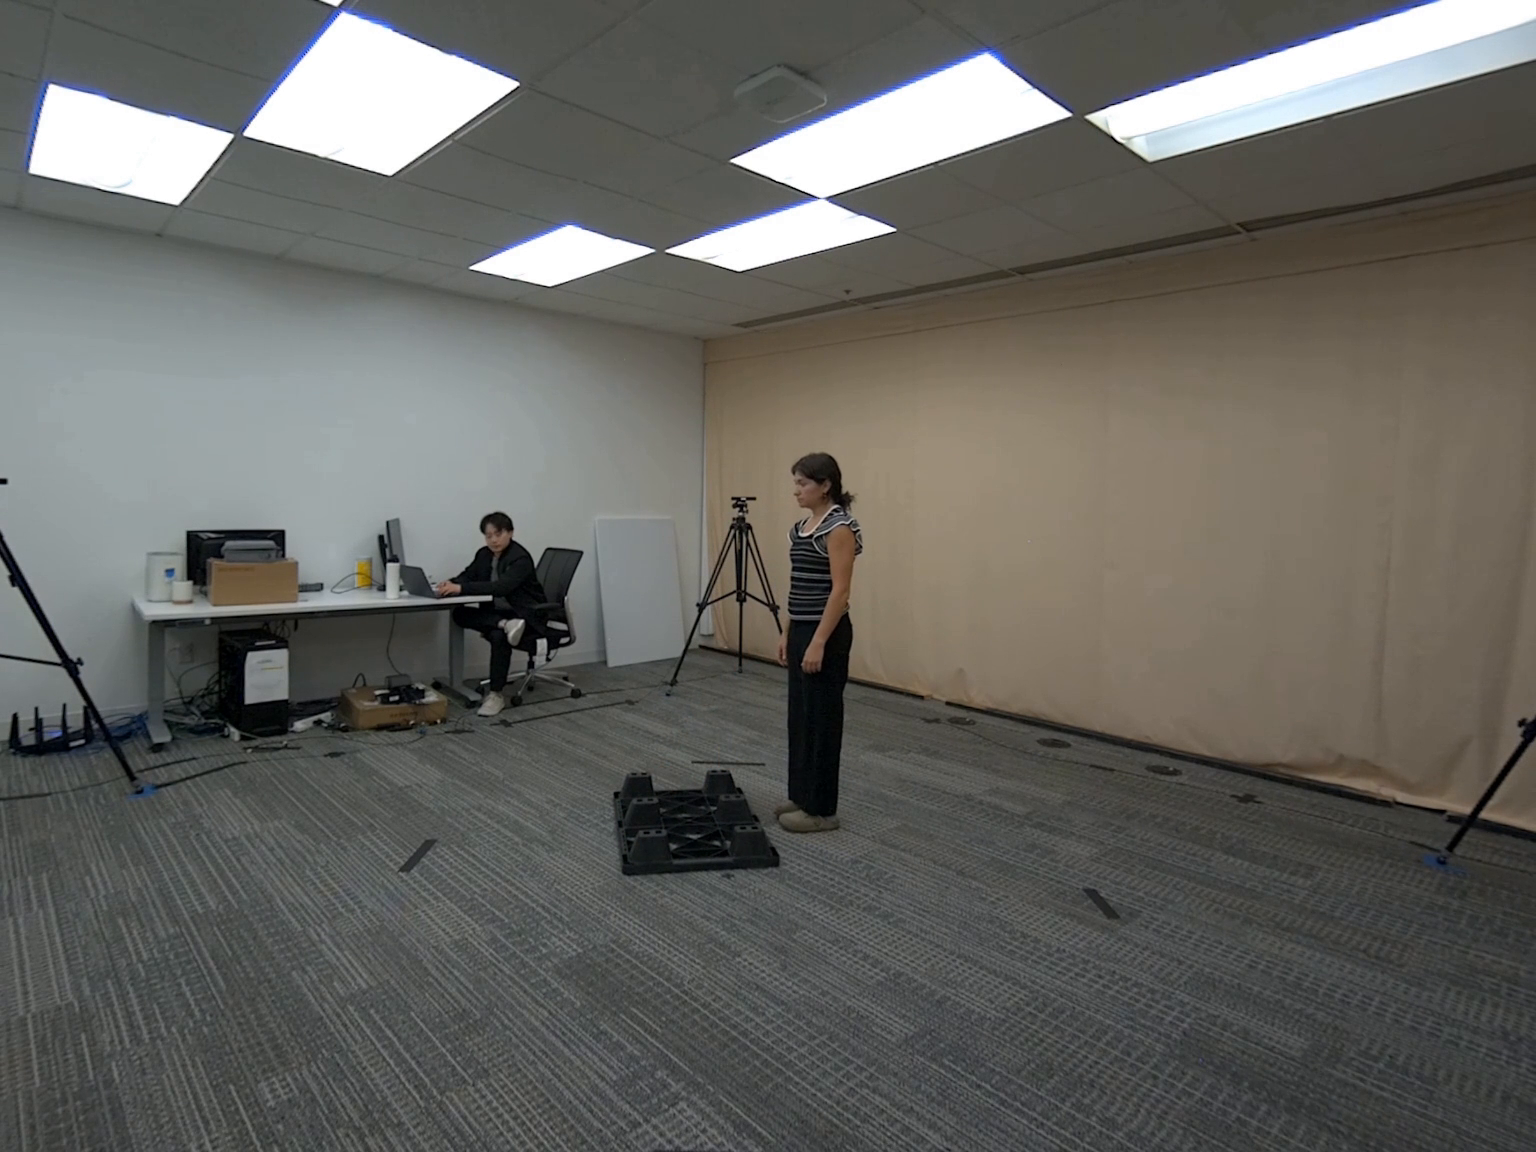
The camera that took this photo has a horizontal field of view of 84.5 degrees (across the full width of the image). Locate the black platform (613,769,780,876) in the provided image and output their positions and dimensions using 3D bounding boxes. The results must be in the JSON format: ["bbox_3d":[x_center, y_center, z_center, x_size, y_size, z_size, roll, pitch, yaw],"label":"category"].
[{"bbox_3d":[-0.344,0.999,3.520,0.599,0.143,0.815,1,4,-13],"label":"black platform"}]
